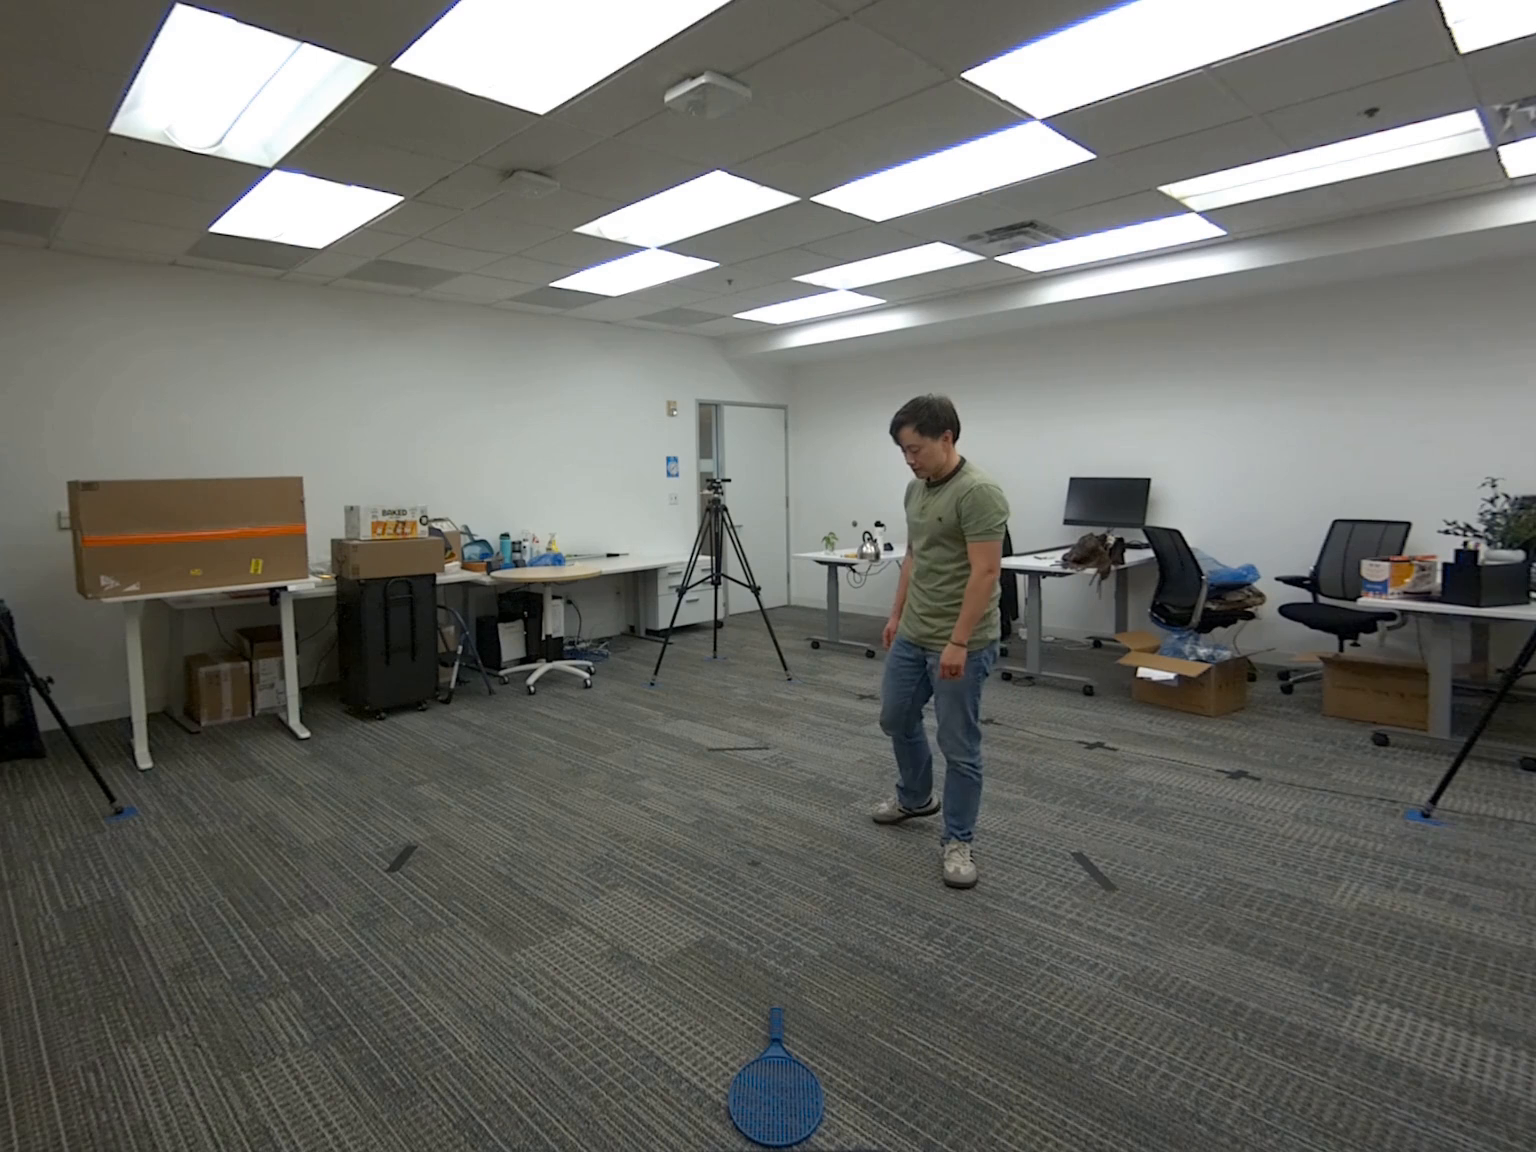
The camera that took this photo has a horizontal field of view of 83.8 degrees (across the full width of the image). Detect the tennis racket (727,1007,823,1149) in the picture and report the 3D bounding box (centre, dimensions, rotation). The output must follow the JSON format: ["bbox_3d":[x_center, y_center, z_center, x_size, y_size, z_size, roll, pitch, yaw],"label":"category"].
[{"bbox_3d":[0.030,1.161,2.005,0.215,0.031,0.434,-1,8,3],"label":"tennis racket"}]
